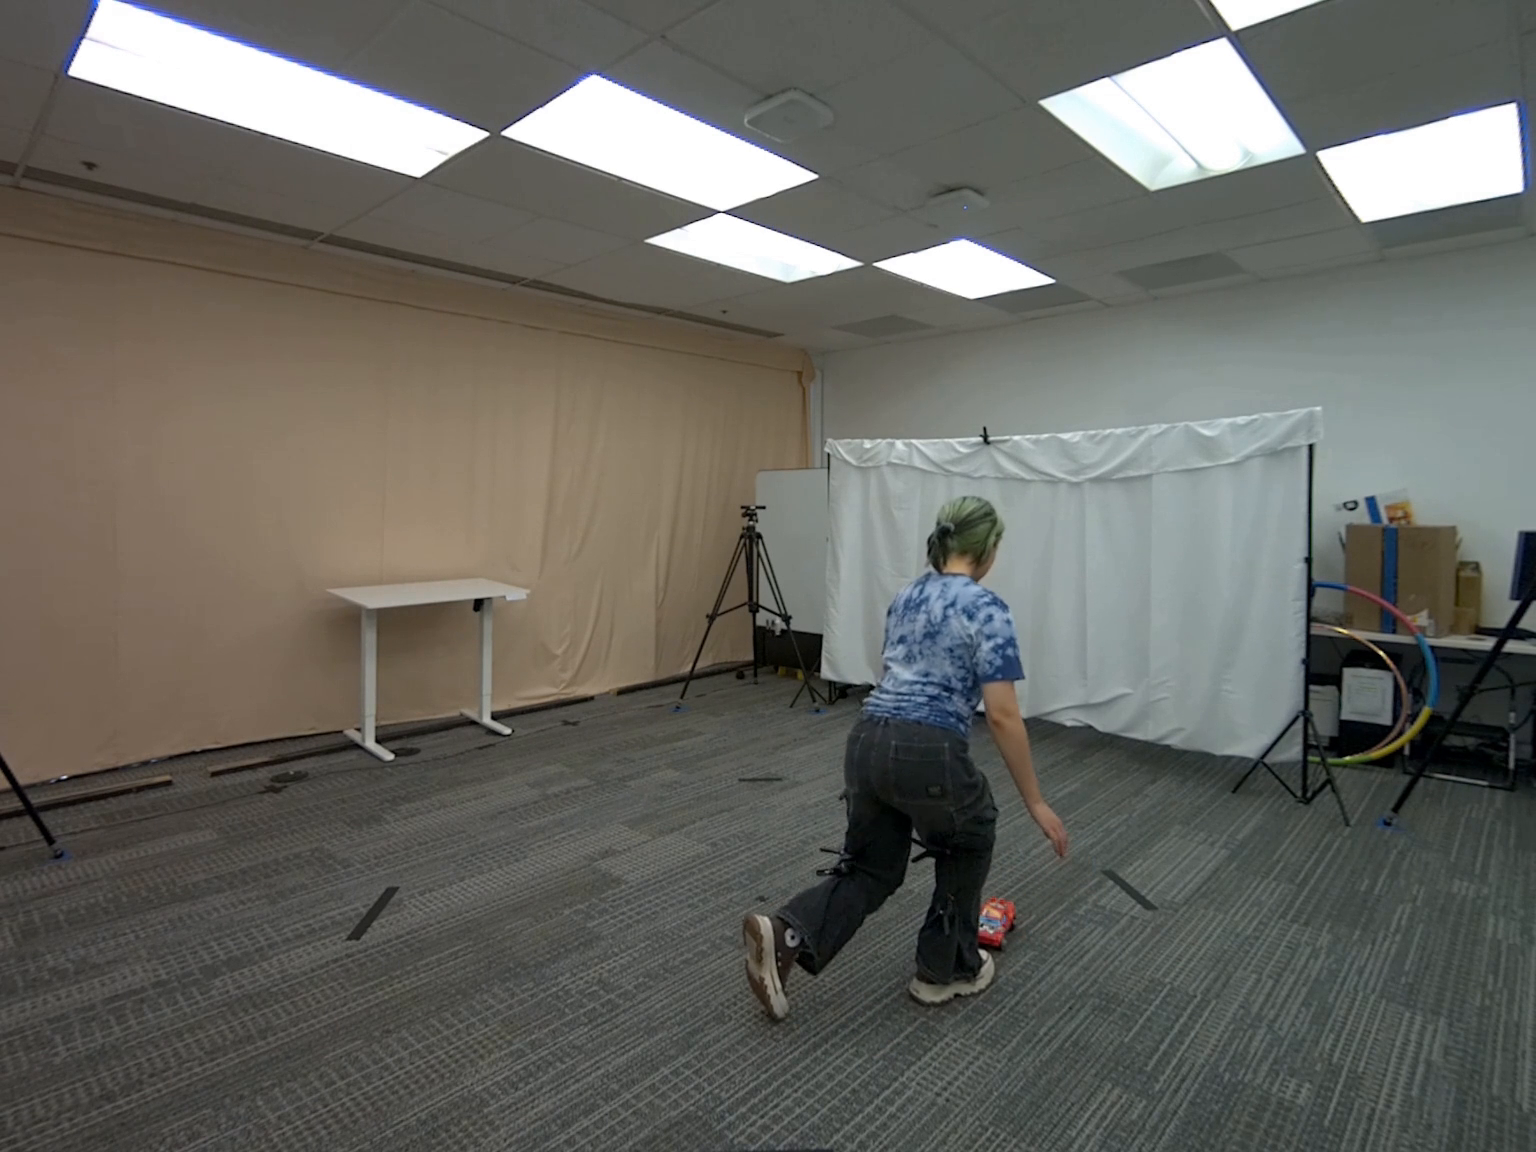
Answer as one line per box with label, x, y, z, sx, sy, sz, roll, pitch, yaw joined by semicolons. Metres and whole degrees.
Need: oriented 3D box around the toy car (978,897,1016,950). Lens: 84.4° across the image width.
toy car;0.739;1.129;2.742;0.134;0.082;0.250;2;17;31
